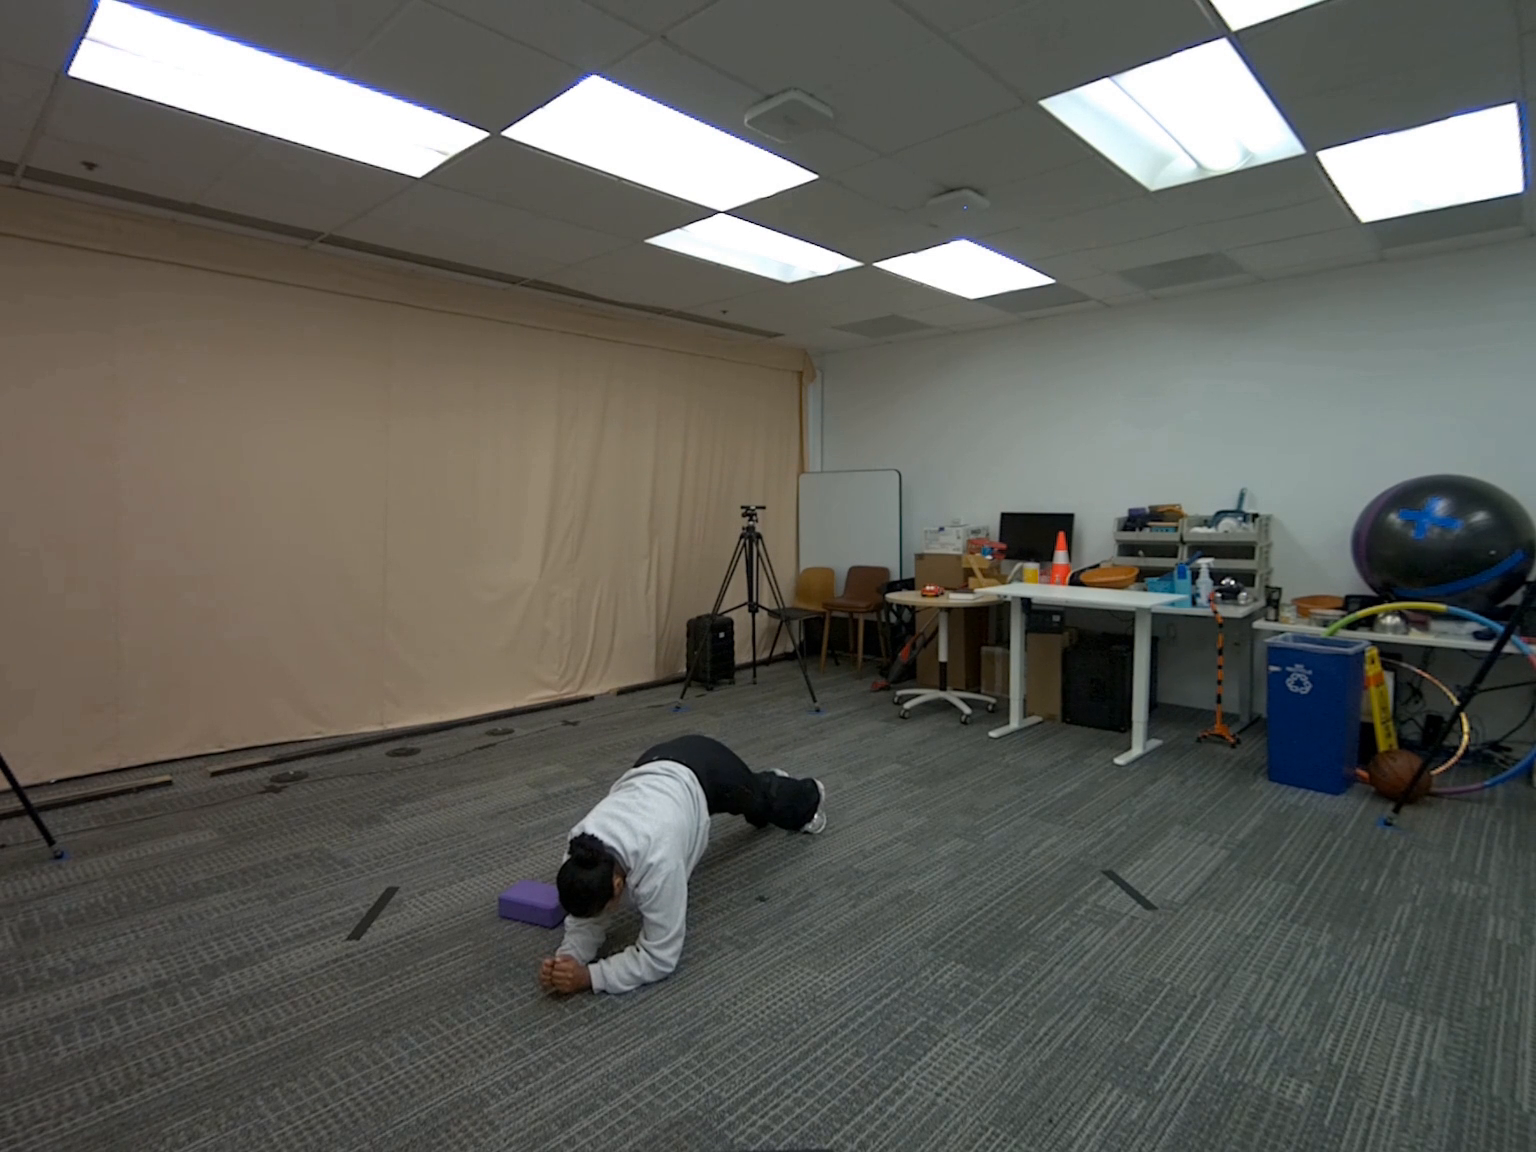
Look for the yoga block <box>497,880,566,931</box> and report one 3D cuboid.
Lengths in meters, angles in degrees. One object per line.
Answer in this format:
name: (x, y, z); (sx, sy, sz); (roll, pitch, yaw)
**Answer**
yoga block: (-0.793, 1.123, 2.878); (0.235, 0.076, 0.146); (1, 5, 23)
